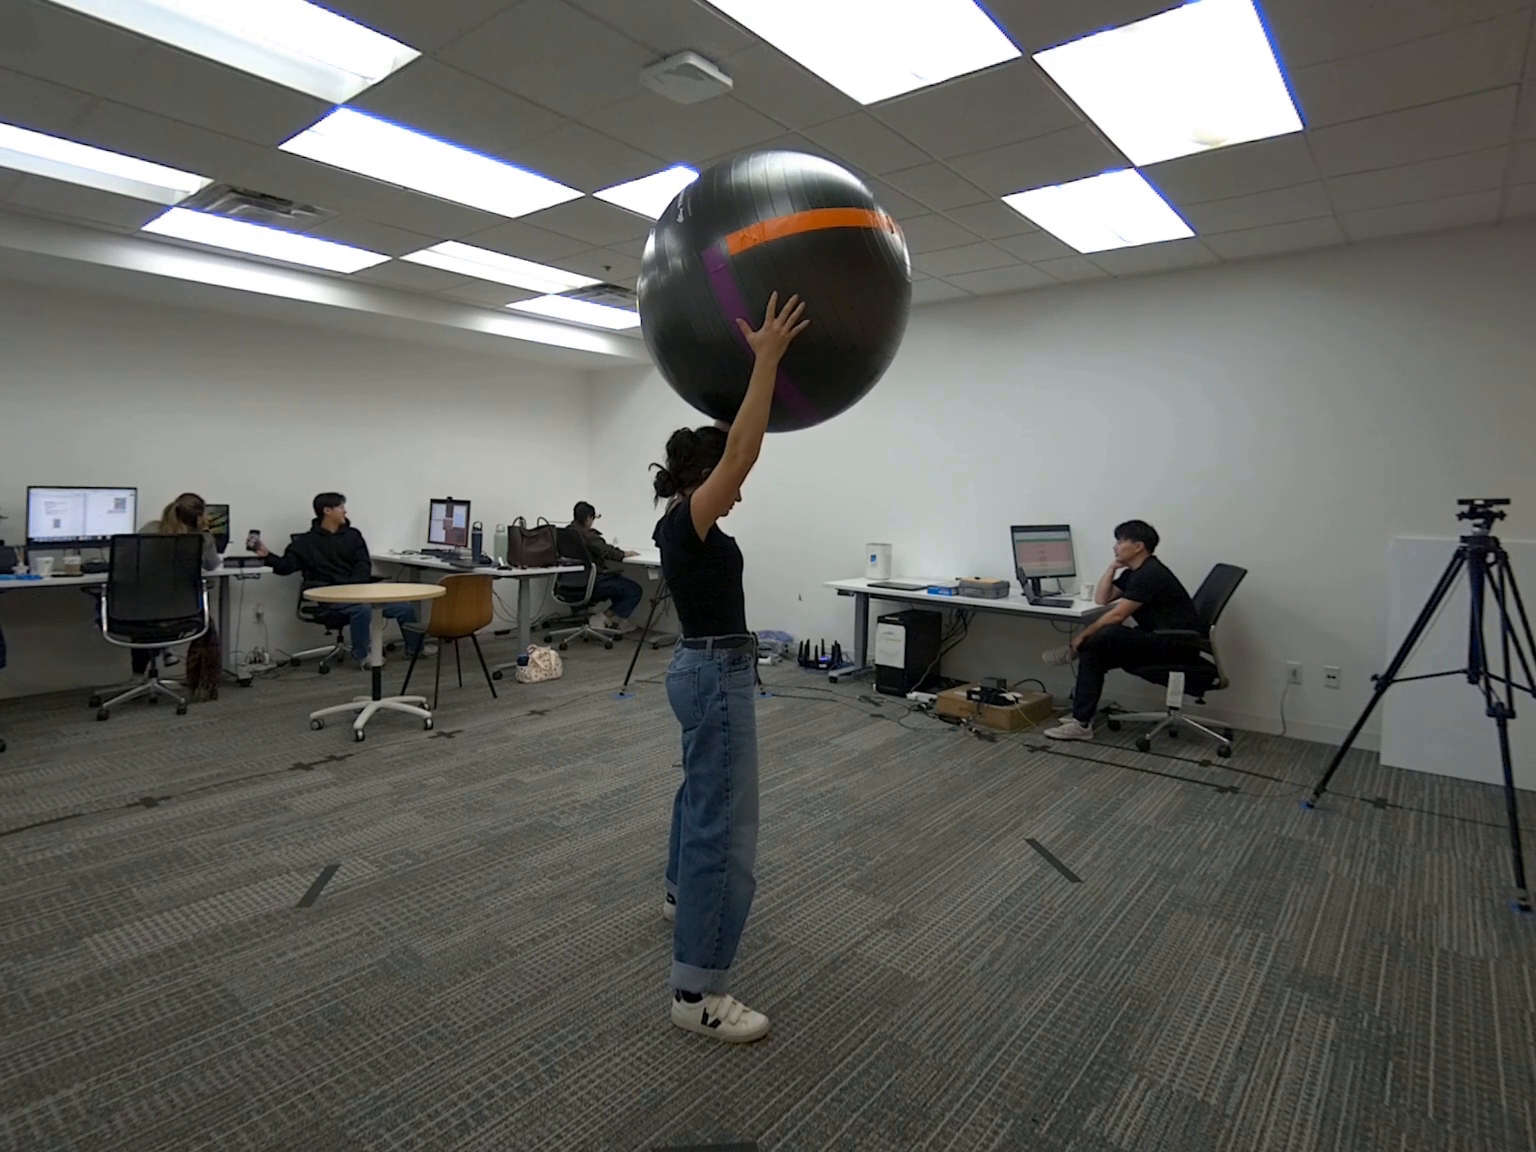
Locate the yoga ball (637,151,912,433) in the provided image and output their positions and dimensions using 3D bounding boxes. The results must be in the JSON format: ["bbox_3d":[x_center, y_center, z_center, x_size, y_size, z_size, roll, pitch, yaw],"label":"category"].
[{"bbox_3d":[0.012,-0.776,2.380,0.757,0.756,0.762,1,4,-2],"label":"yoga ball"}]
